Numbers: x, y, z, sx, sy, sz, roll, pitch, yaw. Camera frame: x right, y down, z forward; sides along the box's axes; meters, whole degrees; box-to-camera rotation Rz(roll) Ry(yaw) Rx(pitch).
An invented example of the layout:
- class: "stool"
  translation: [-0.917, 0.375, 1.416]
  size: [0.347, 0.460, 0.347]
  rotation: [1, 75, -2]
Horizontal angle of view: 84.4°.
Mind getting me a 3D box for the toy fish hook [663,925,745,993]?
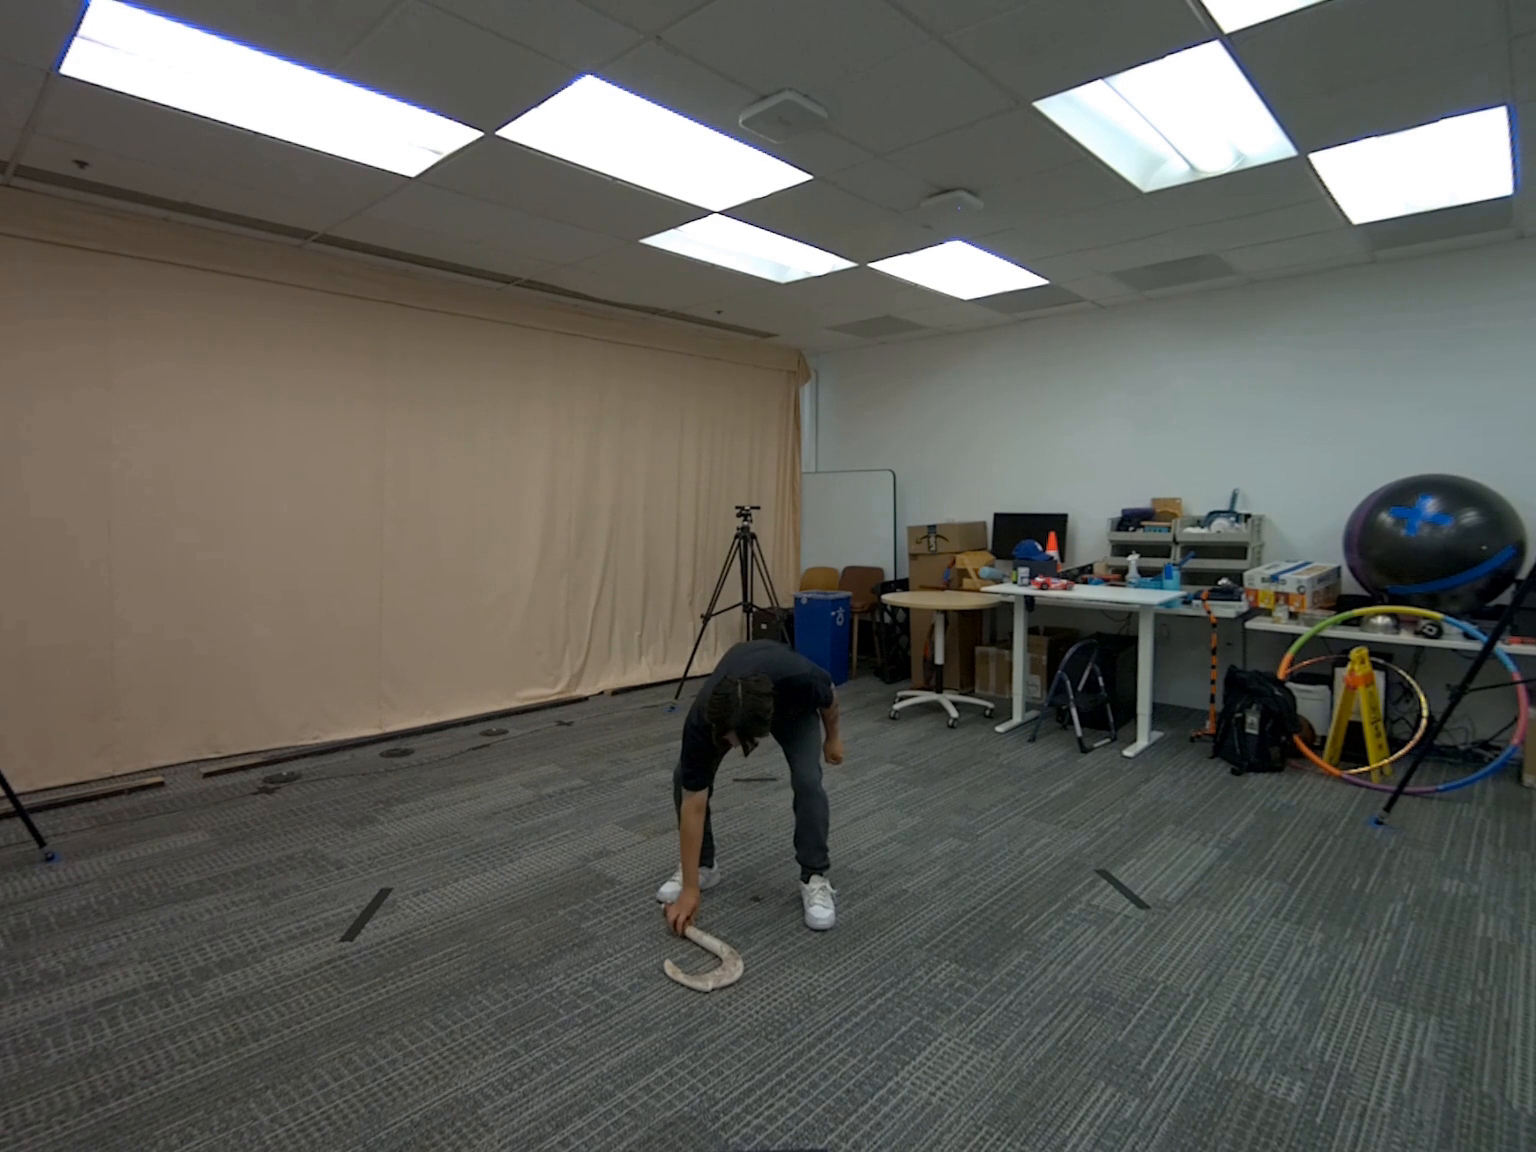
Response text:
- class: "toy fish hook"
  translation: [-0.259, 1.150, 2.639]
  size: [0.218, 0.048, 0.521]
  rotation: [-1, 5, -31]
